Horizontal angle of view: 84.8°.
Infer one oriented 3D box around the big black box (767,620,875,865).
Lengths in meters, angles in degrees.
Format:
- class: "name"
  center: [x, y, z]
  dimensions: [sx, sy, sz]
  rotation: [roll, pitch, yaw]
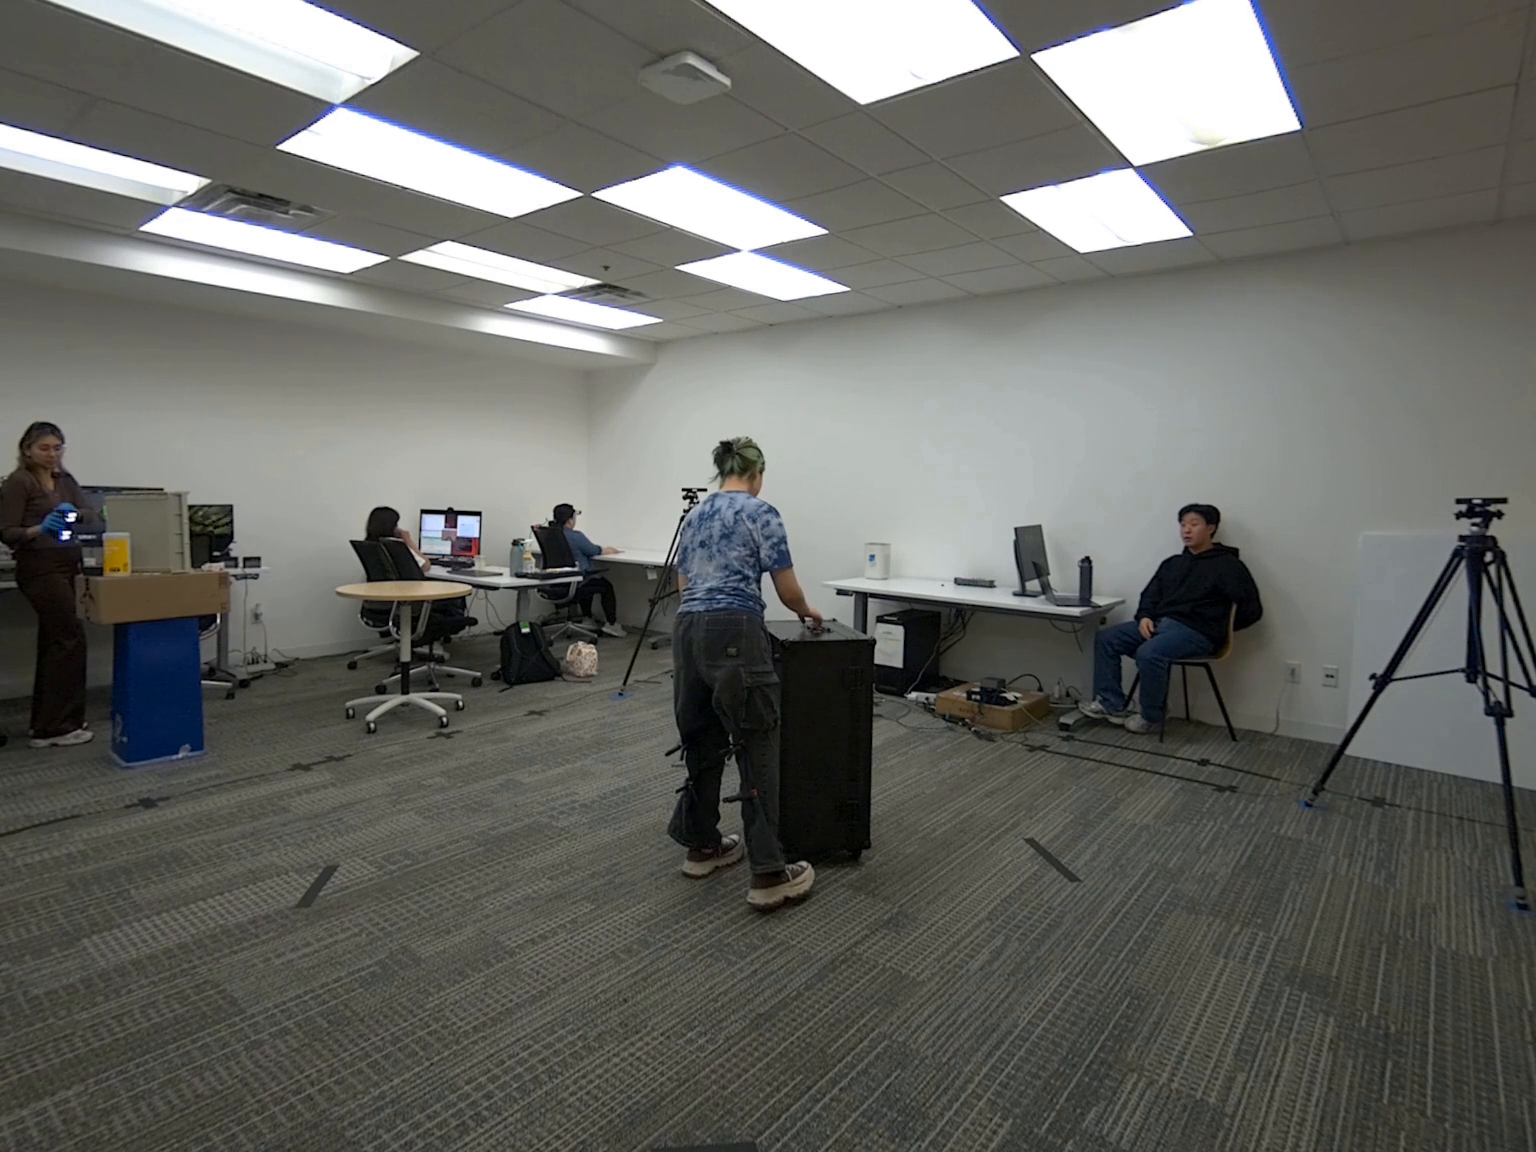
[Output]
- class: "big black box"
  center: [0.148, 0.634, 3.336]
  dimensions: [0.392, 0.859, 0.529]
  rotation: [0, 4, -12]
